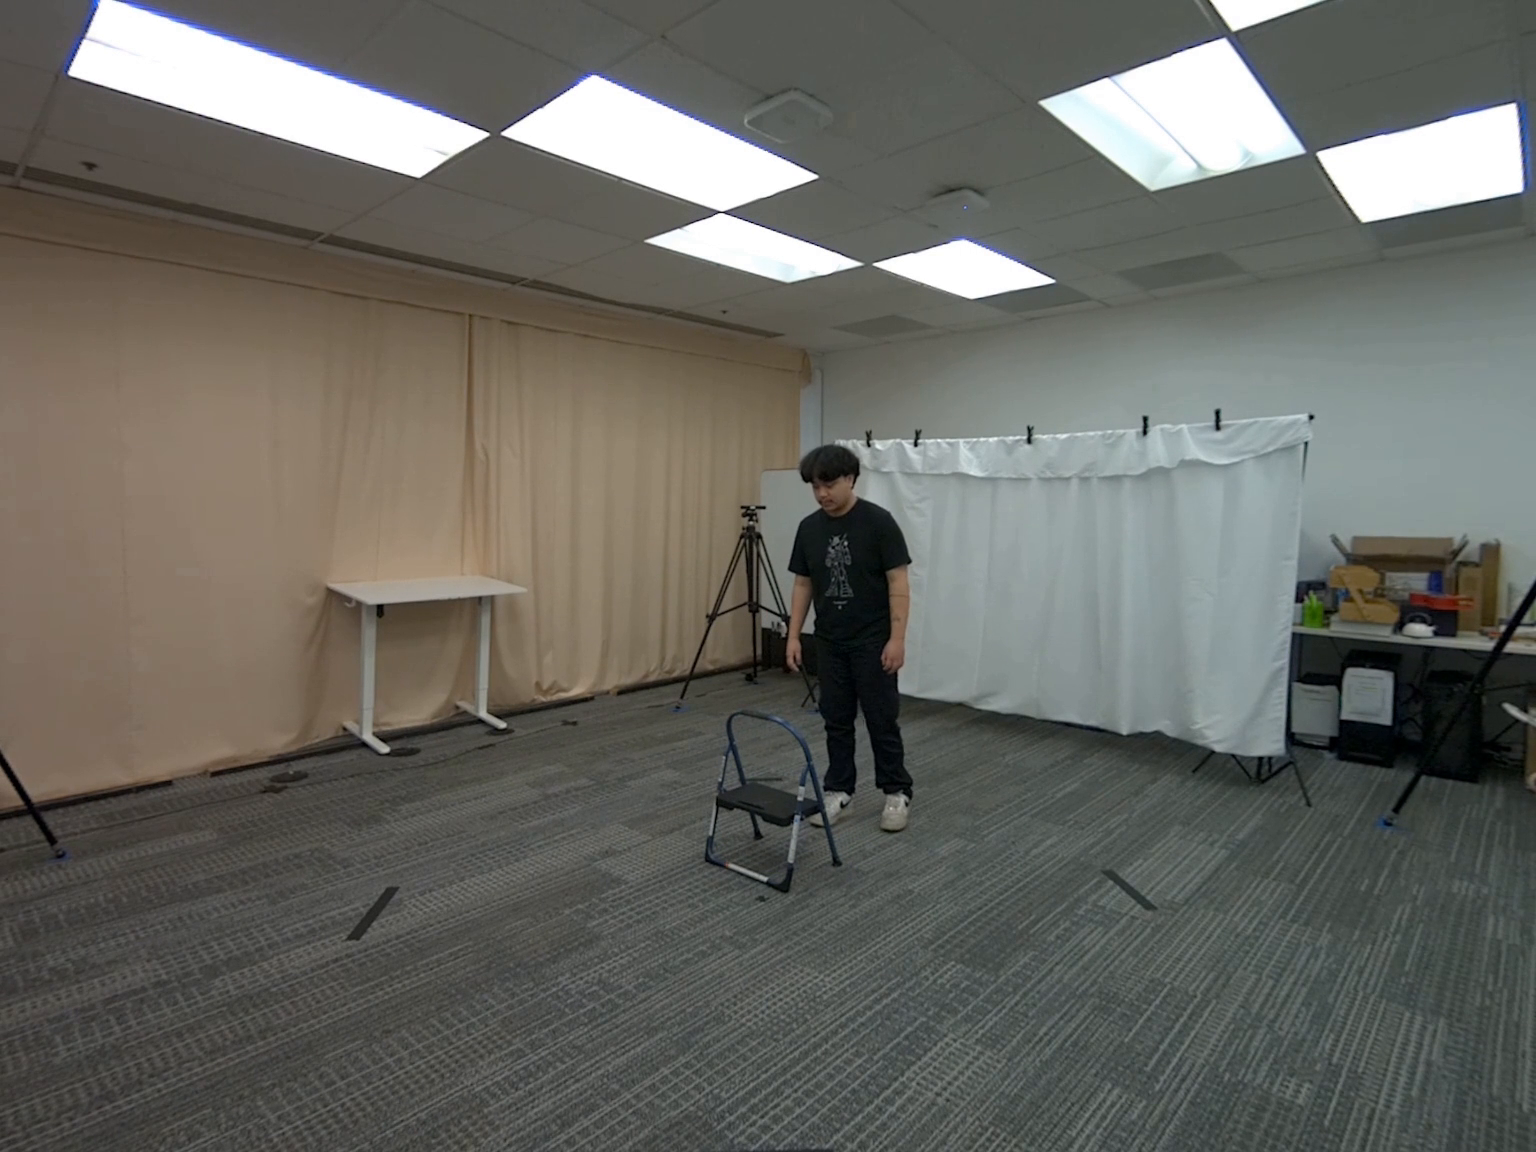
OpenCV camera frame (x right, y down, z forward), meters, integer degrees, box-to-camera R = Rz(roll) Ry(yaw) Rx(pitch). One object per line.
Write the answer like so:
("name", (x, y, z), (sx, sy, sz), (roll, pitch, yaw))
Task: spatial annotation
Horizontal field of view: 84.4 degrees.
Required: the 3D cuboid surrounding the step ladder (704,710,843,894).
("step ladder", (0.015, 0.815, 3.270), (0.445, 0.605, 0.338), (2, 4, 41))
